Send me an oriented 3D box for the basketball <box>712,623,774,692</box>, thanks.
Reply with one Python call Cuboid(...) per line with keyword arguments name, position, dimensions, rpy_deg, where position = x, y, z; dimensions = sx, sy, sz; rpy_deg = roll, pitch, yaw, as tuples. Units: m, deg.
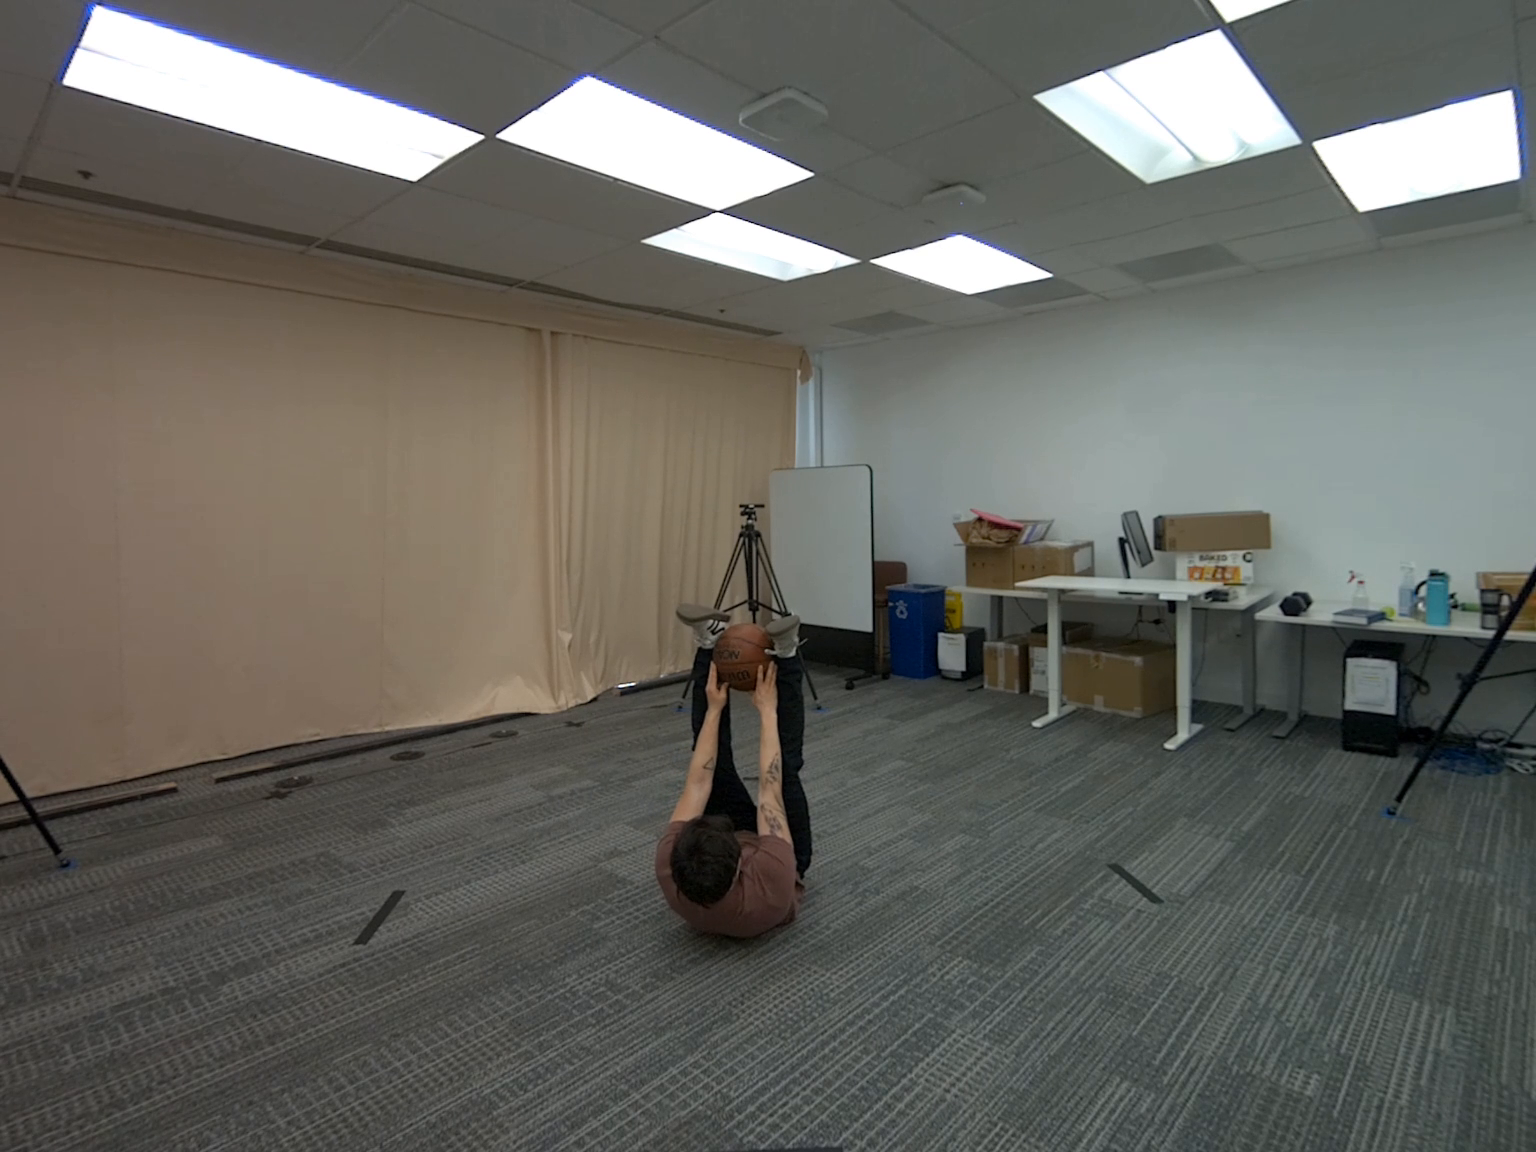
Cuboid(name="basketball", position=(-0.068, 0.282, 2.921), dimensions=(0.235, 0.235, 0.237), rpy_deg=(3, 5, -2))
